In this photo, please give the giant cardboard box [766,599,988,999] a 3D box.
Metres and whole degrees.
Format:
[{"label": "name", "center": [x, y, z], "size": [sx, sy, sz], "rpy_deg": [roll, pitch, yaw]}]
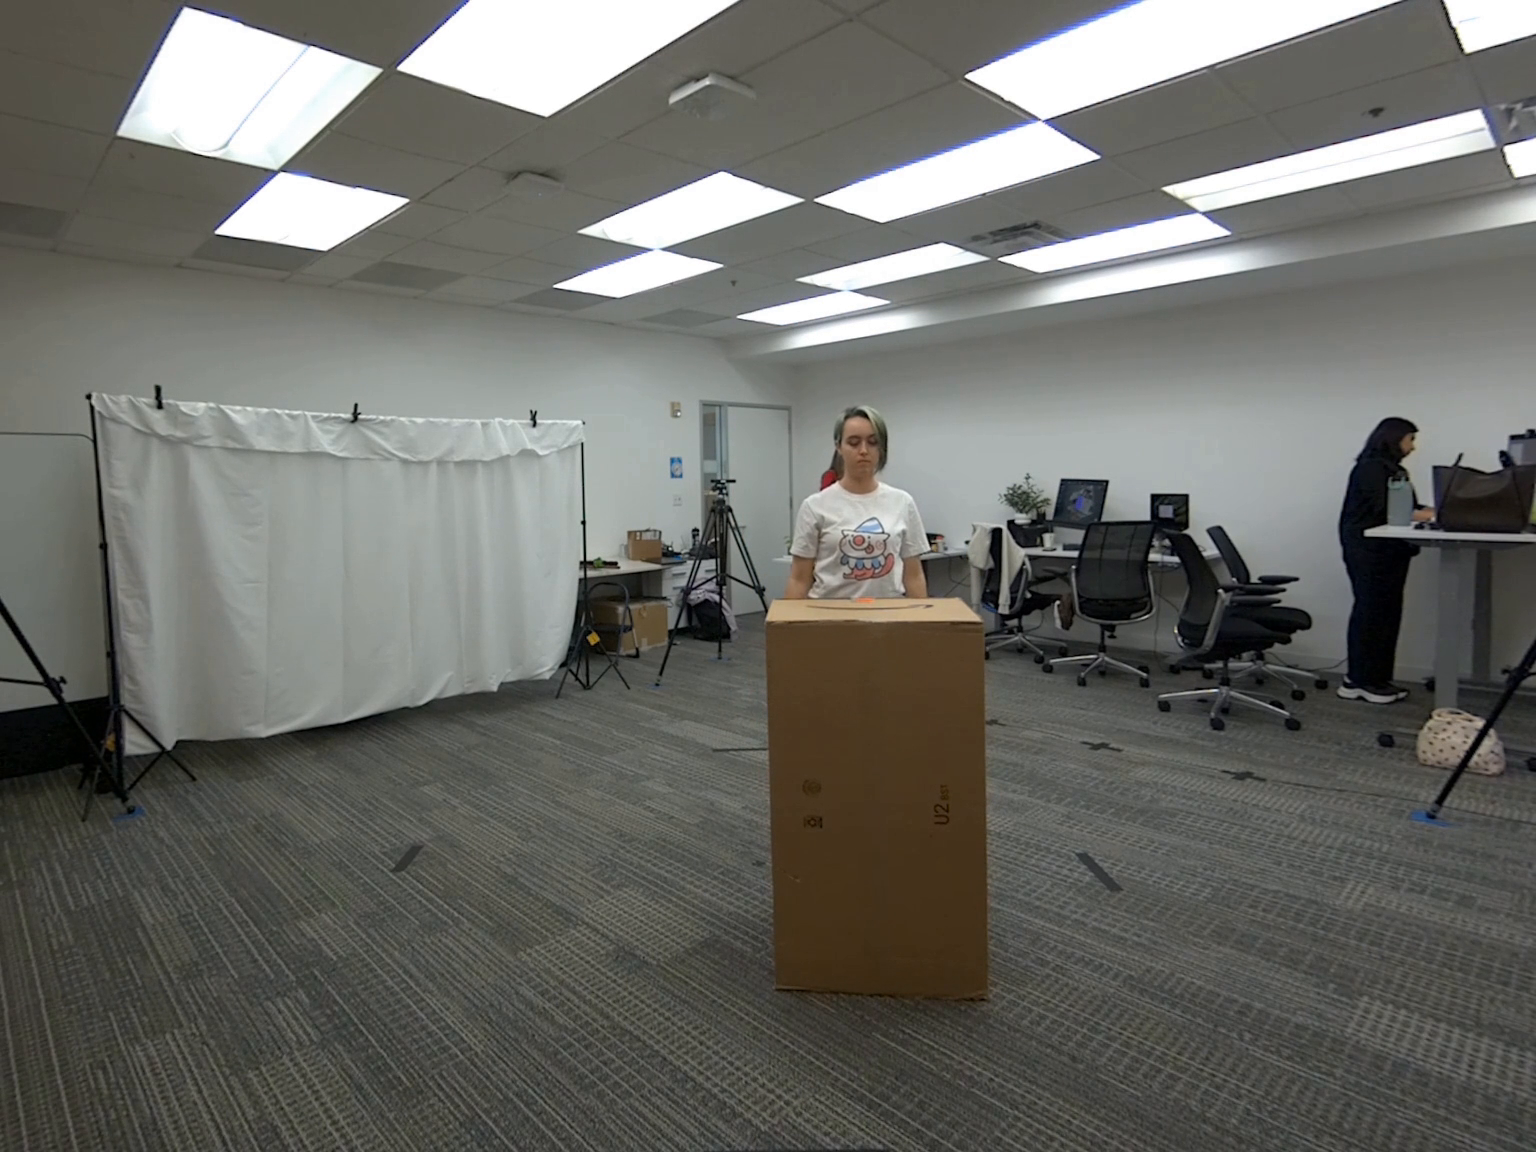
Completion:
[{"label": "giant cardboard box", "center": [0.306, 0.603, 2.484], "size": [0.587, 1.023, 0.446], "rpy_deg": [-1, 4, 5]}]
